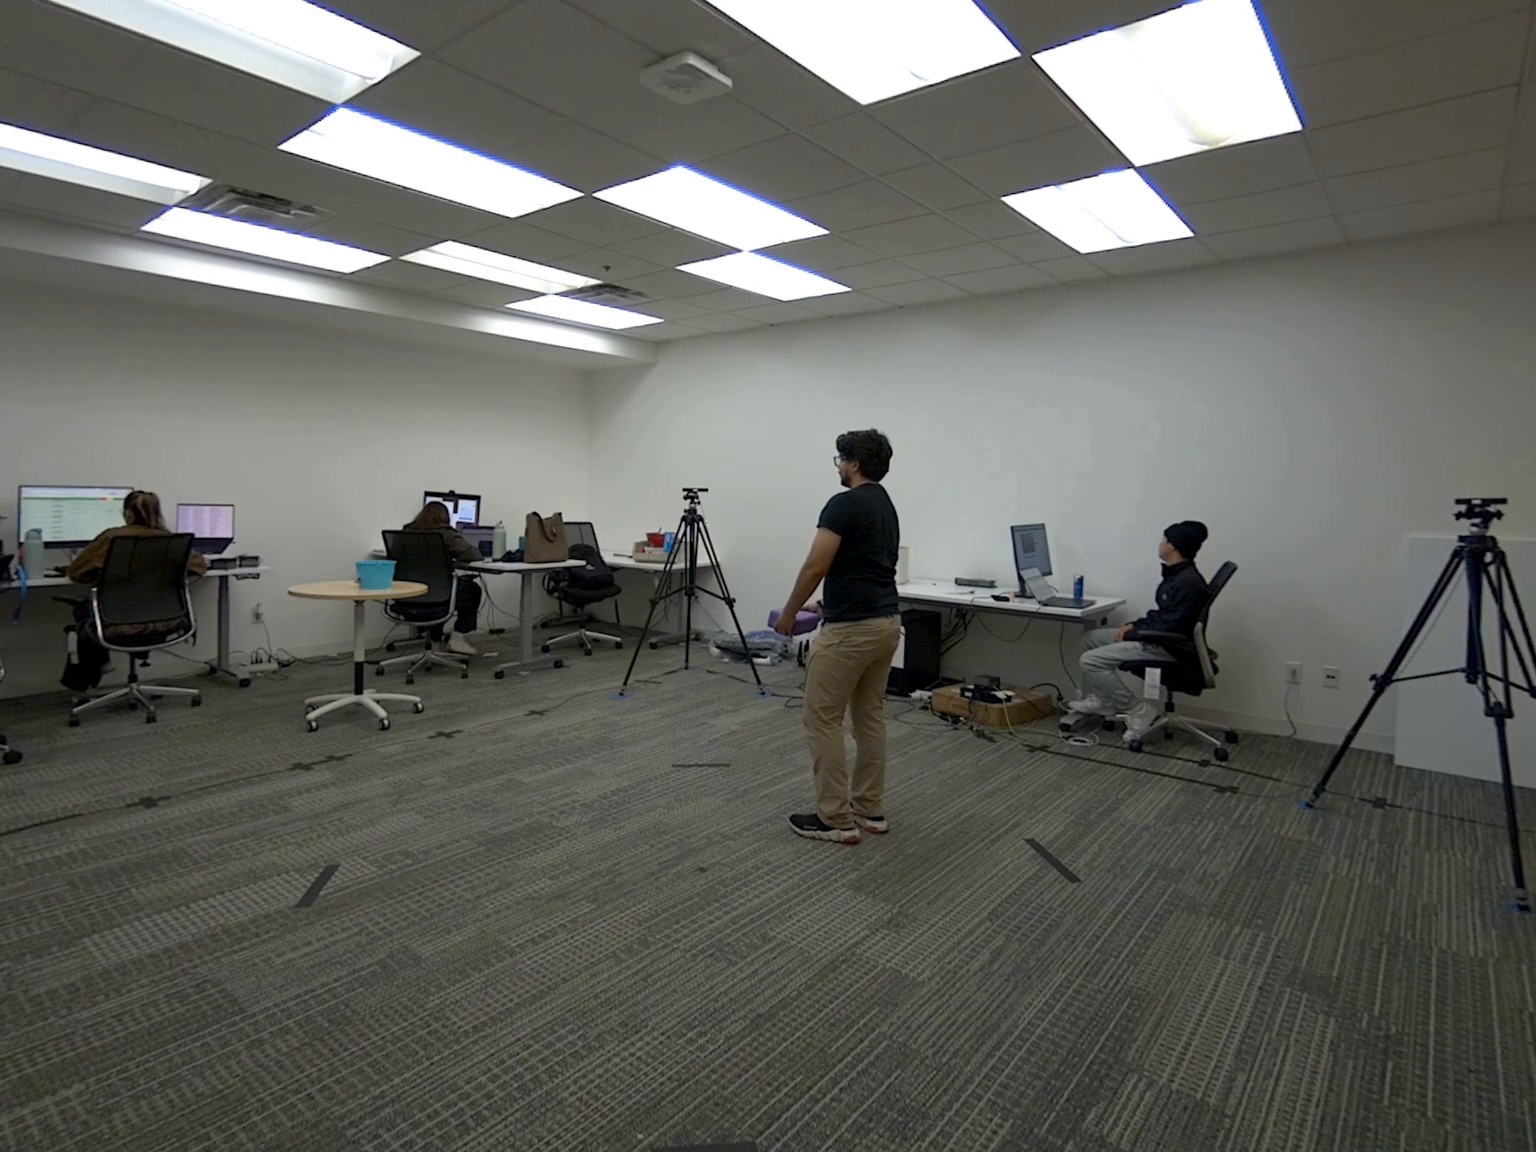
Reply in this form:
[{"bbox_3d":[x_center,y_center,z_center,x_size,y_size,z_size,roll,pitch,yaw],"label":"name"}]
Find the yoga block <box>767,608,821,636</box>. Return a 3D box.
[{"bbox_3d":[0.117,0.185,3.736,0.153,0.076,0.225,11,10,21],"label":"yoga block"}]
